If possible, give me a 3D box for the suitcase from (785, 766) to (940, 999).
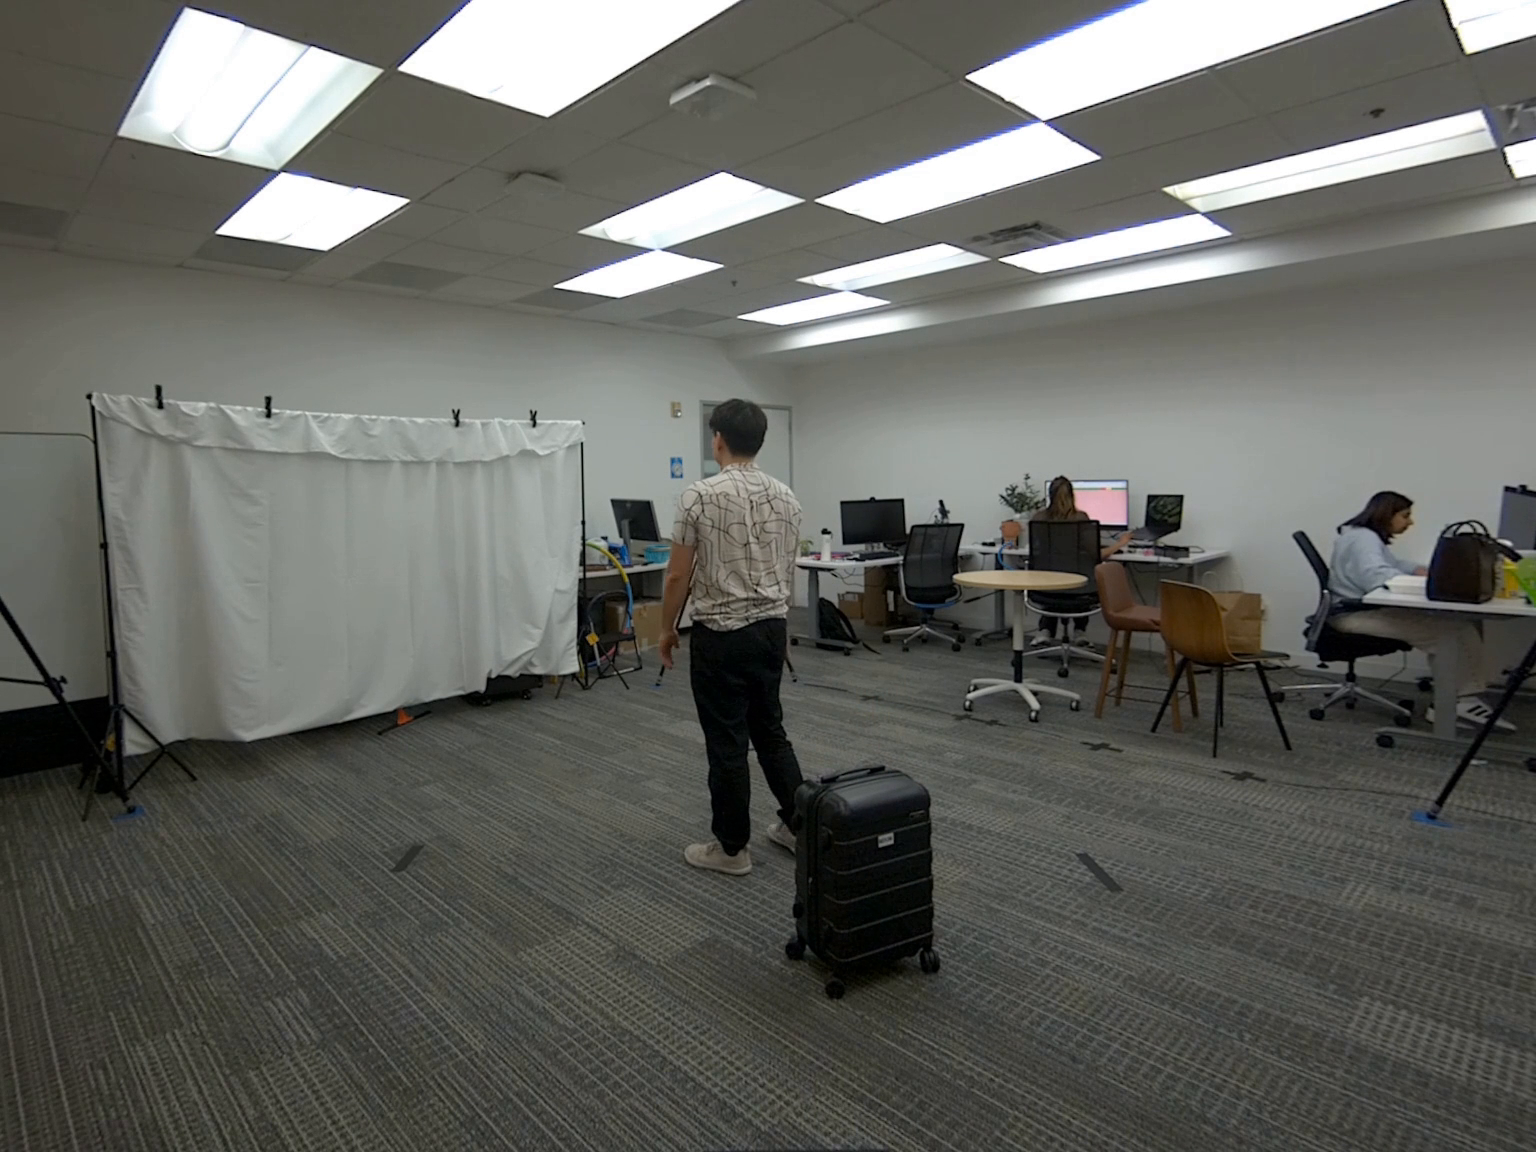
[{"bbox_3d":[0.284,0.842,2.447,0.367,0.548,0.254,-3,4,-26],"label":"suitcase"}]
